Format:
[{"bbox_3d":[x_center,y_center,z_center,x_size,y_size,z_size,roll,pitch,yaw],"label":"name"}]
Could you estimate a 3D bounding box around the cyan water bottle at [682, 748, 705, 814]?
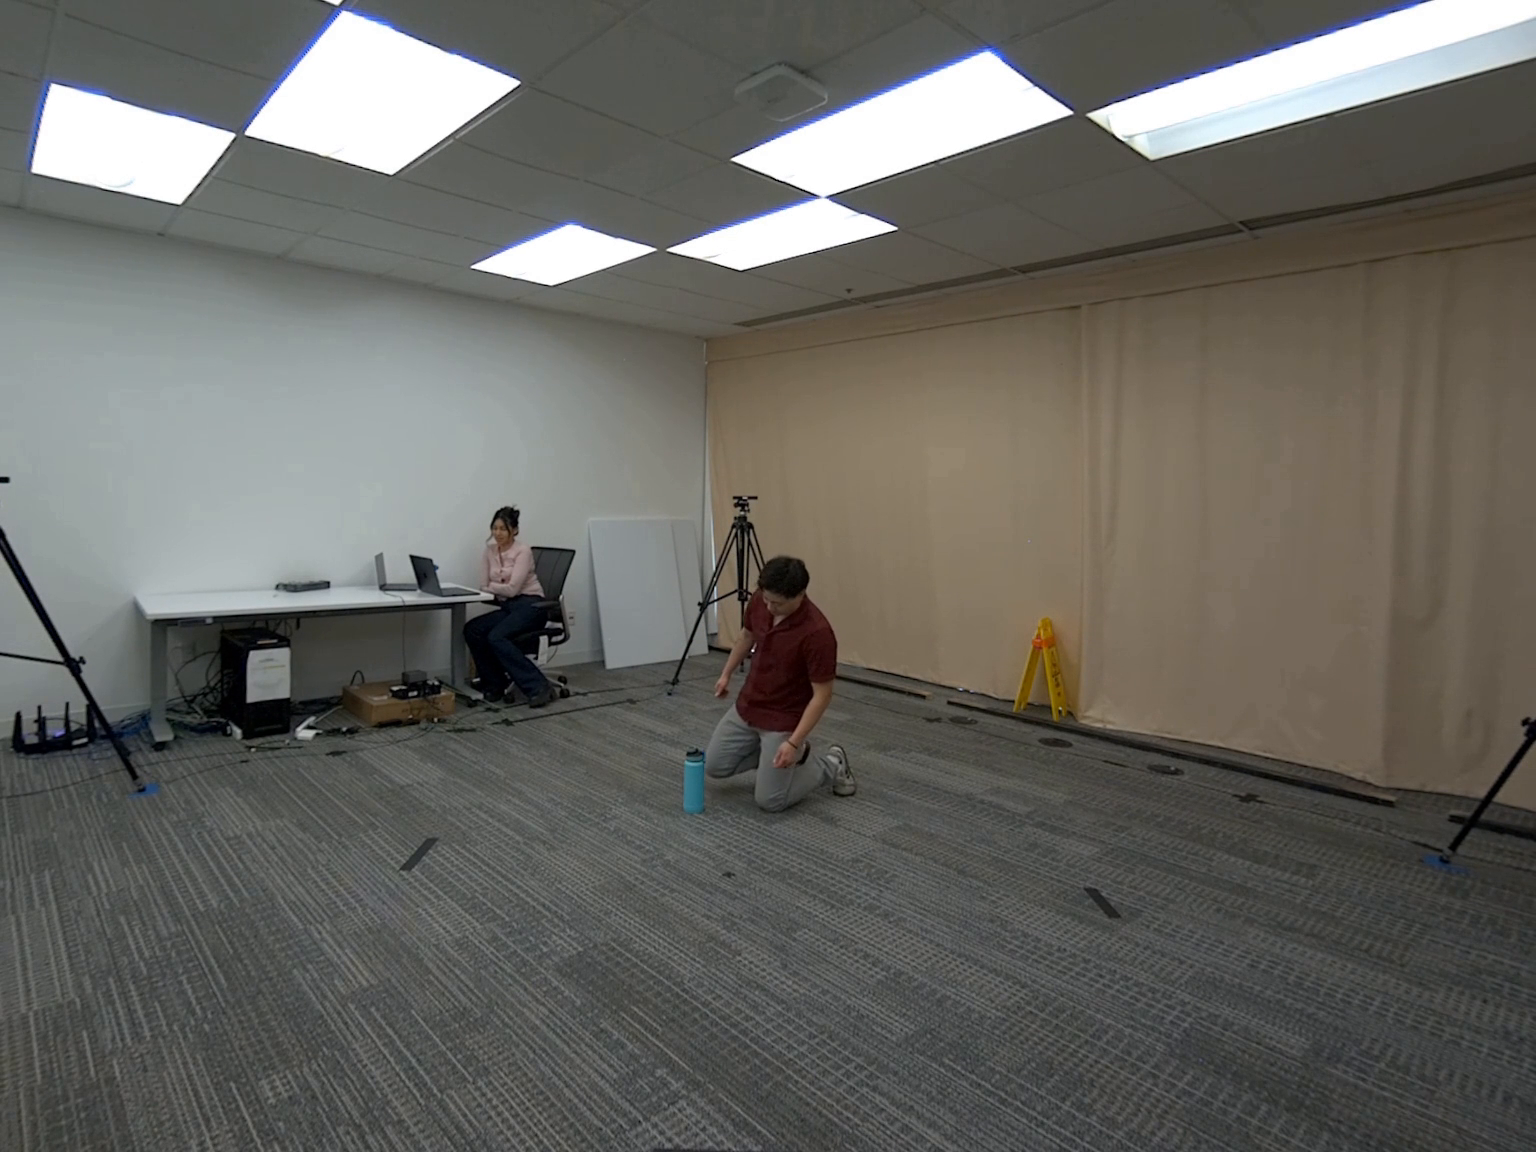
[{"bbox_3d":[-0.335,0.904,3.741,0.092,0.283,0.092,3,3,-2],"label":"cyan water bottle"}]
